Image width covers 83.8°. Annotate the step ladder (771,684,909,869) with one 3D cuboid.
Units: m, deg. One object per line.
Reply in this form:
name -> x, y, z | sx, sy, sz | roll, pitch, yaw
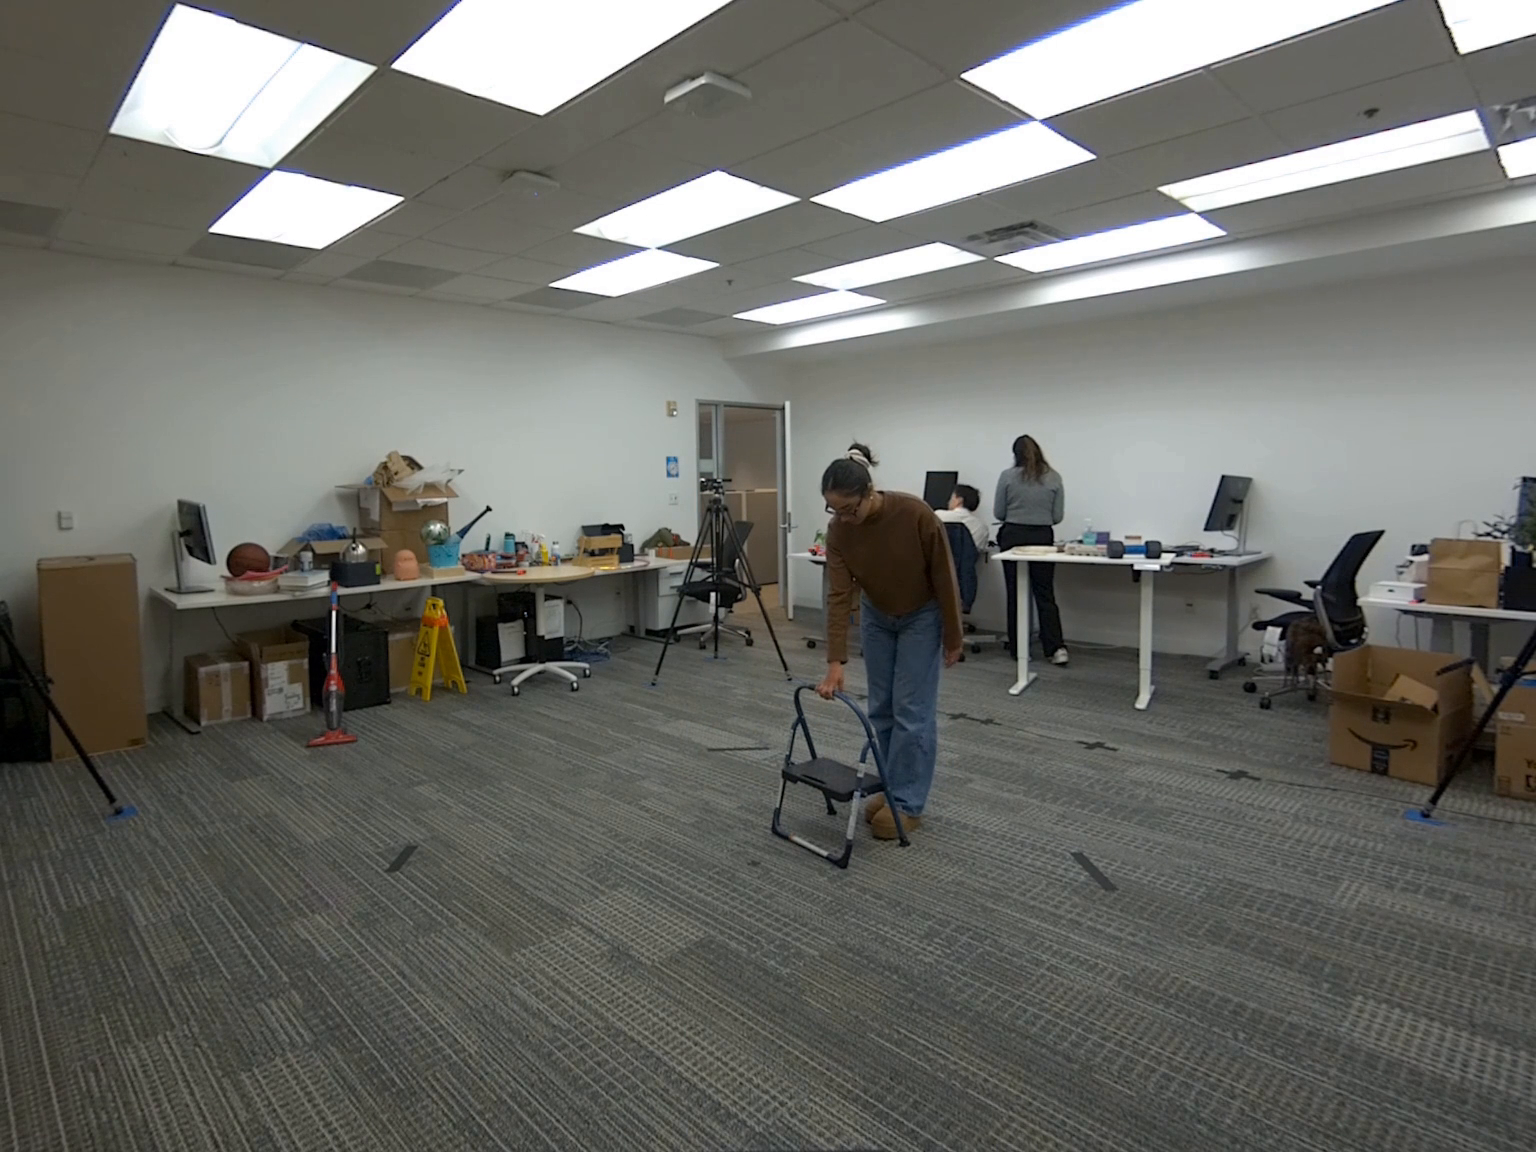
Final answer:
step ladder -> 0.271, 0.716, 3.289 | 0.340, 0.604, 0.444 | -4, 6, -38
